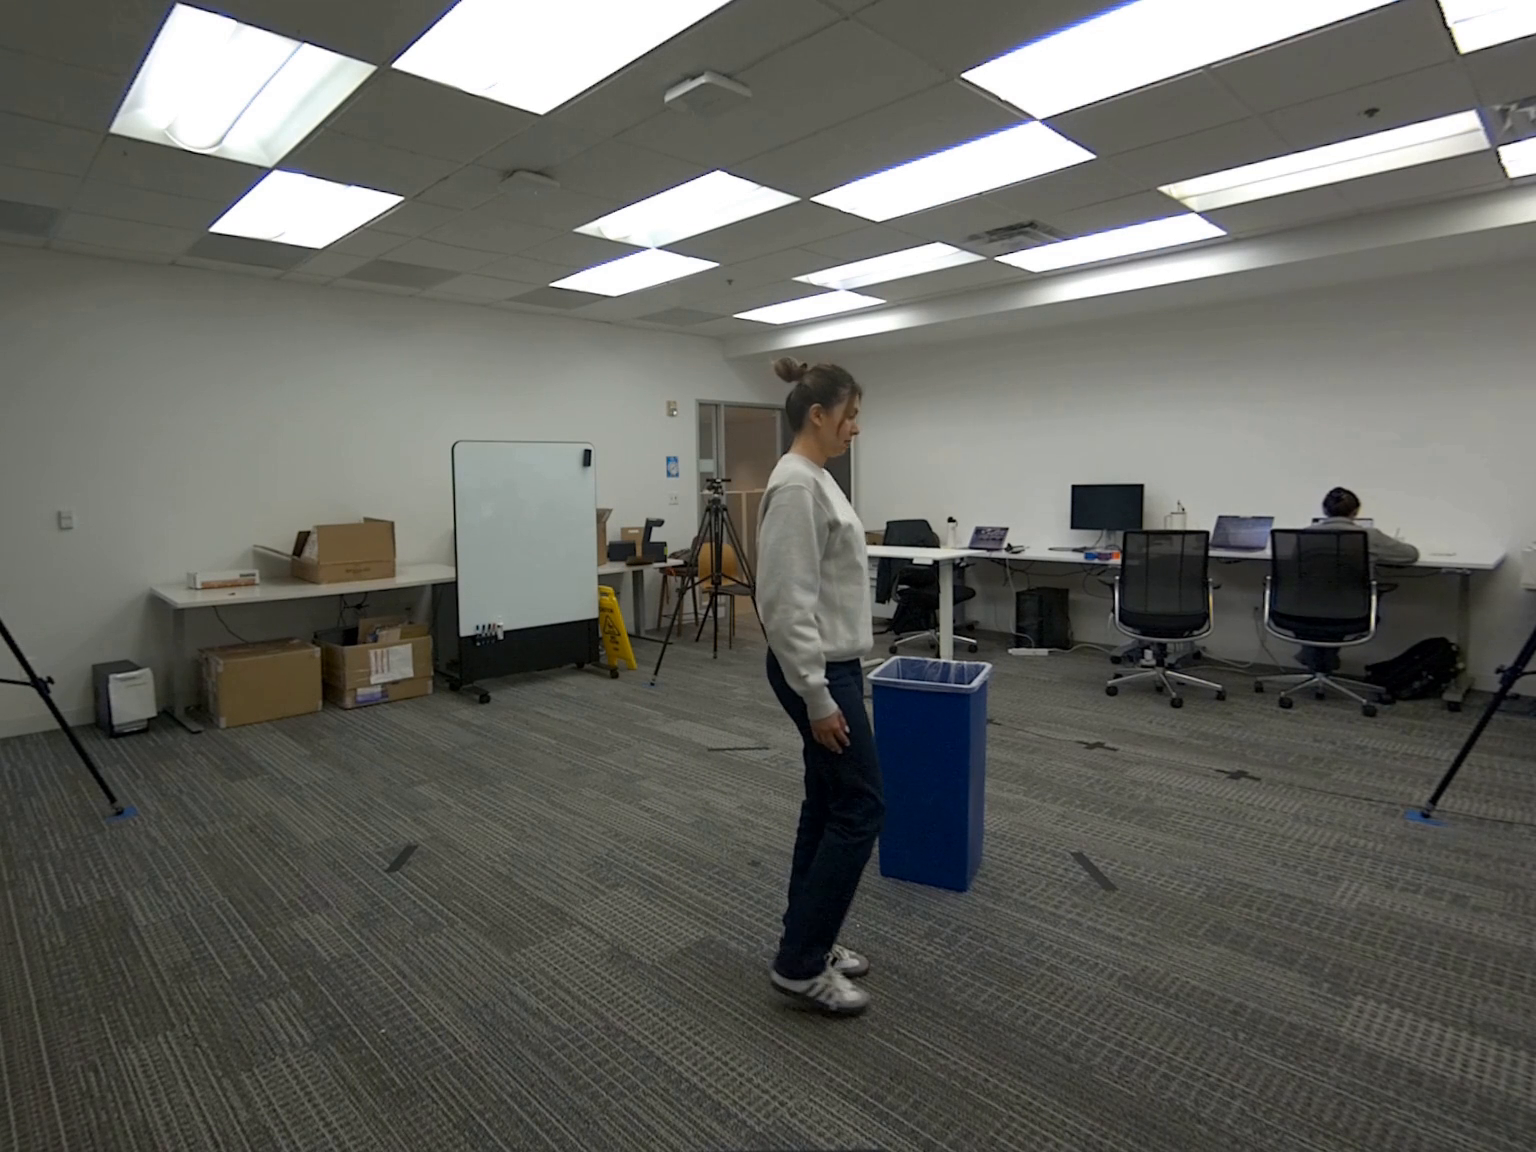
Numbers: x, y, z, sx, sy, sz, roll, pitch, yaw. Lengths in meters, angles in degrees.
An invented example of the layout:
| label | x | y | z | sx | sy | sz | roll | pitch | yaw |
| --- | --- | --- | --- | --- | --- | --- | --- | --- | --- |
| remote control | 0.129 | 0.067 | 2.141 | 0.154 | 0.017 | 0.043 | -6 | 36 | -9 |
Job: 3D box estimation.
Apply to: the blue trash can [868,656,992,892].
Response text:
| label | x | y | z | sx | sy | sz | roll | pitch | yaw |
| --- | --- | --- | --- | --- | --- | --- | --- | --- | --- |
| blue trash can | 0.582 | 0.685 | 3.026 | 0.387 | 0.711 | 0.367 | 1 | 4 | 26 |
